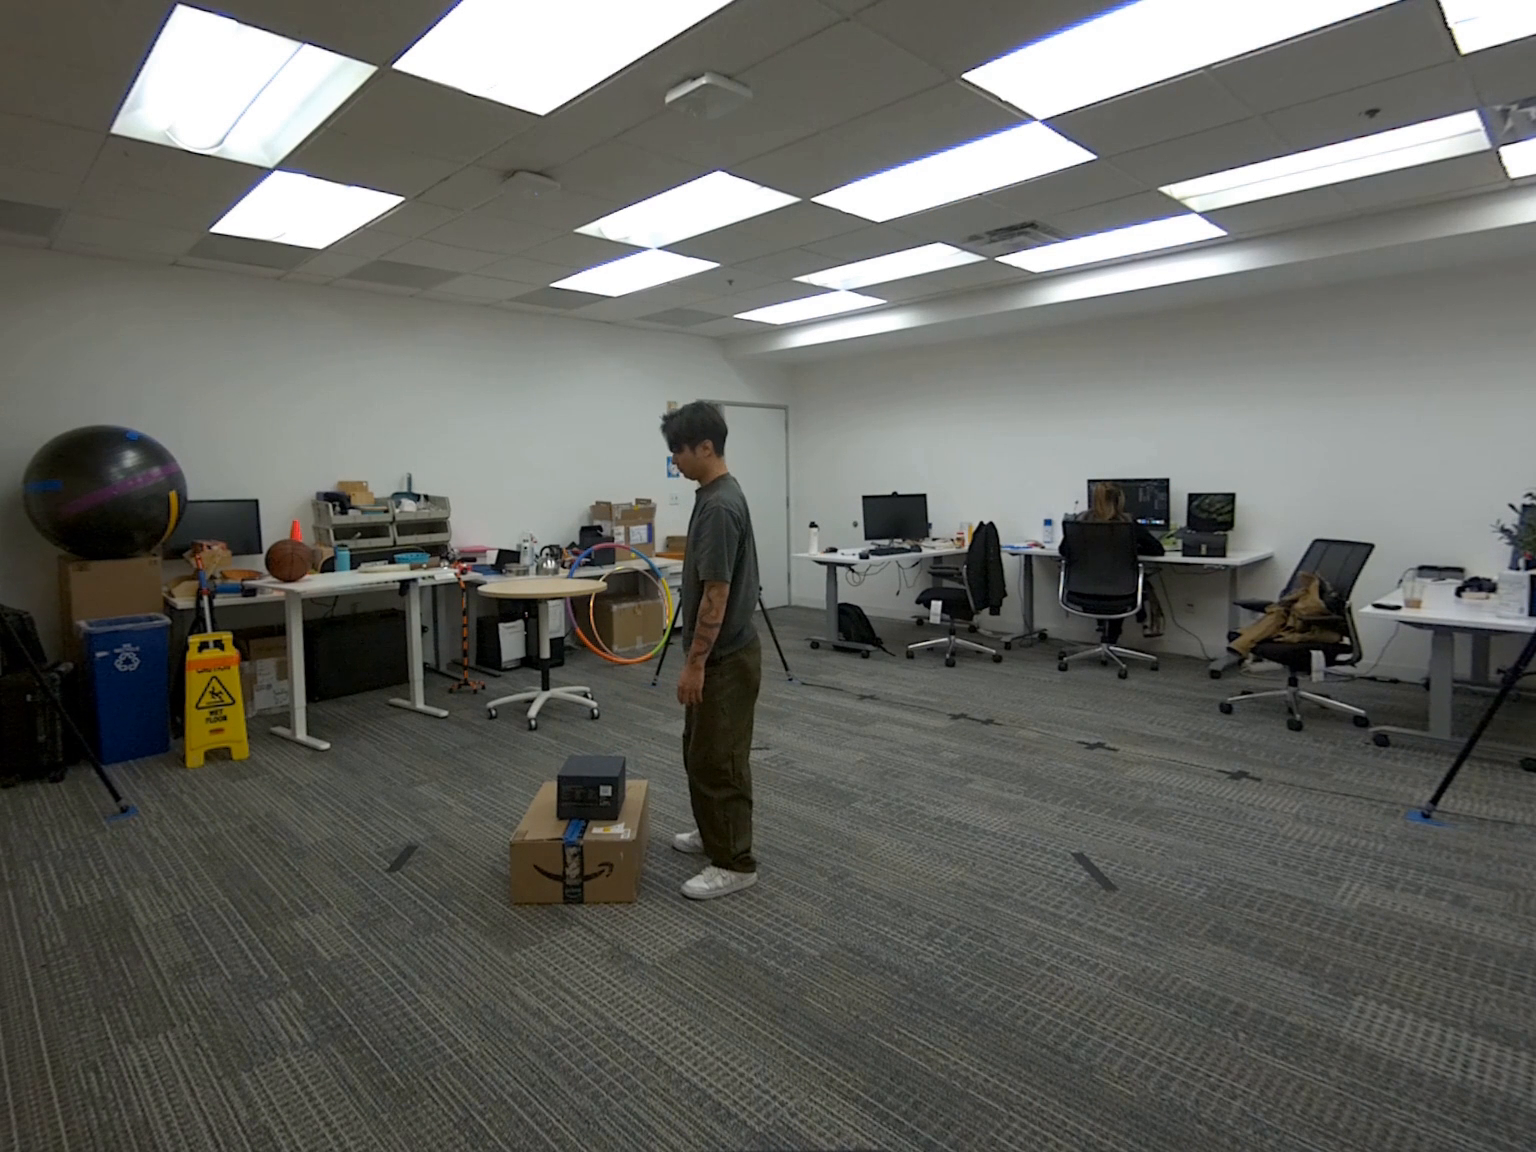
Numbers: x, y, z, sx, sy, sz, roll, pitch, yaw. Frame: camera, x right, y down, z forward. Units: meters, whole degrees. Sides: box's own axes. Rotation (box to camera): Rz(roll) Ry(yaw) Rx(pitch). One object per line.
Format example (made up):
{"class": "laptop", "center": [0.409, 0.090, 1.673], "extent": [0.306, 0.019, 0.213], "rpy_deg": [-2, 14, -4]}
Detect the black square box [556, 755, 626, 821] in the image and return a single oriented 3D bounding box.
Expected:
{"class": "black square box", "center": [-0.636, 0.760, 3.085], "extent": [0.217, 0.155, 0.229], "rpy_deg": [0, 6, -1]}
